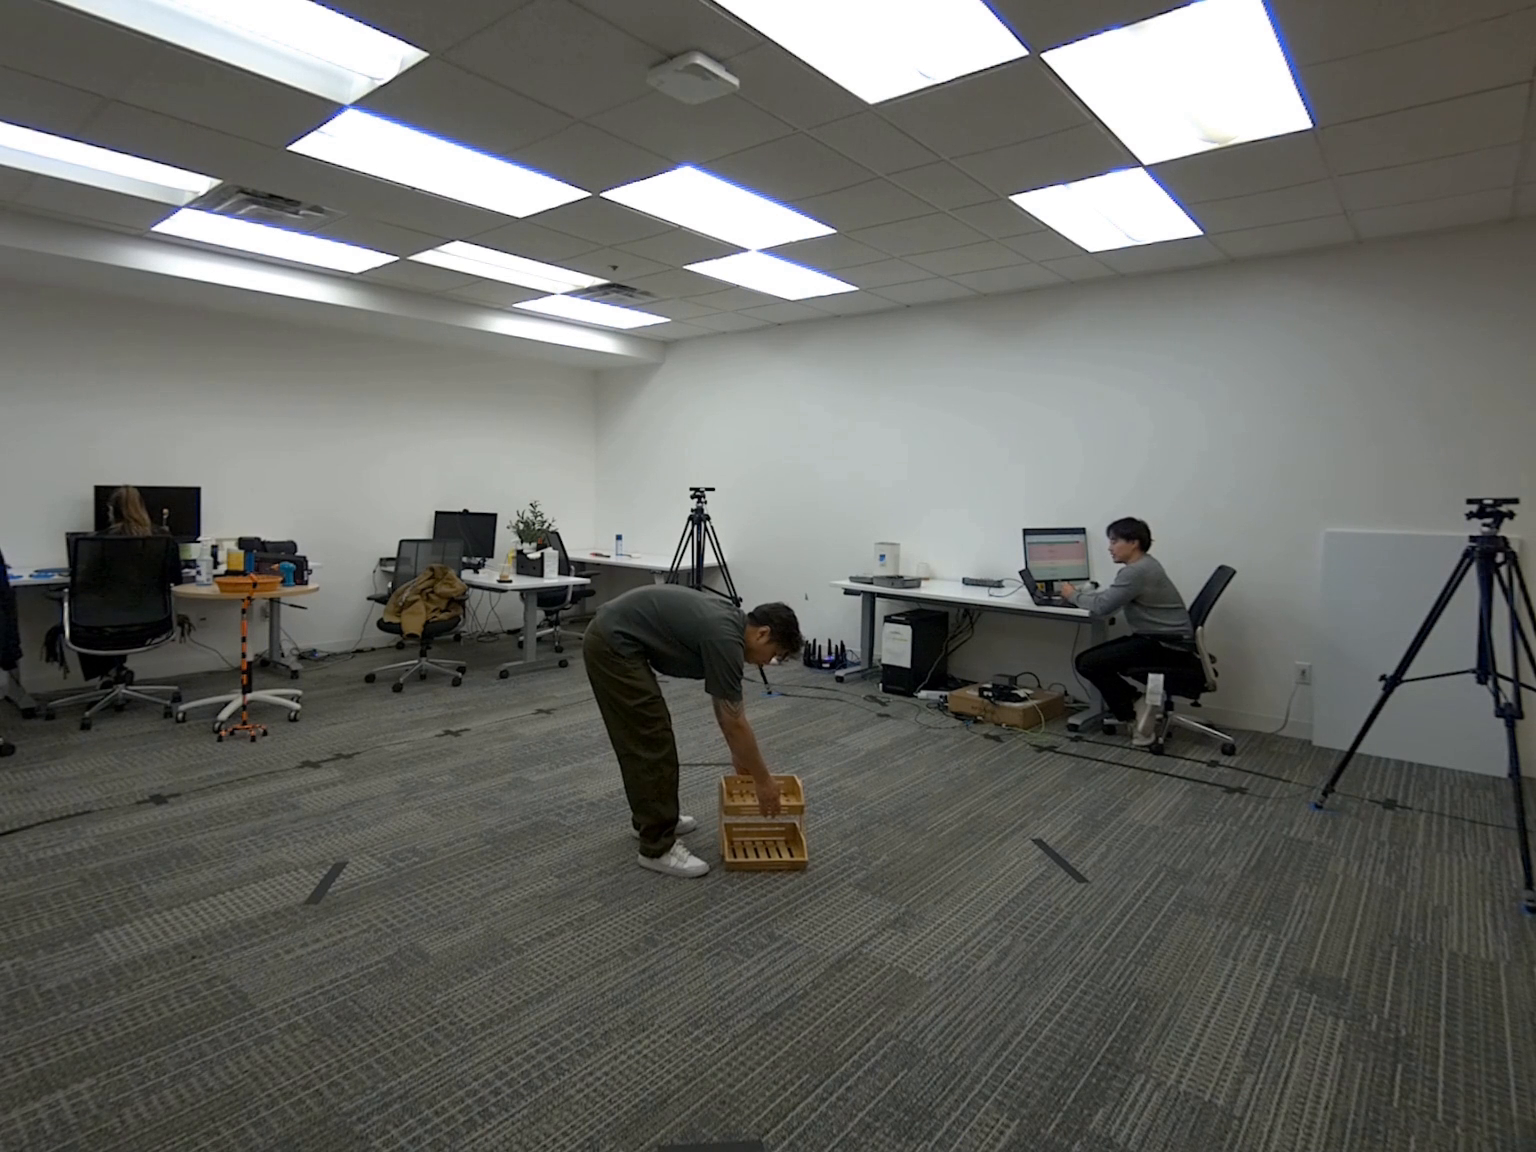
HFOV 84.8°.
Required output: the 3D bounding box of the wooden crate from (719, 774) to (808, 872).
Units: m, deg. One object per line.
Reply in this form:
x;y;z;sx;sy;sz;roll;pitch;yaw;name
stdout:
-0.029;0.924;3.221;0.322;0.272;0.305;0;5;-7;wooden crate
